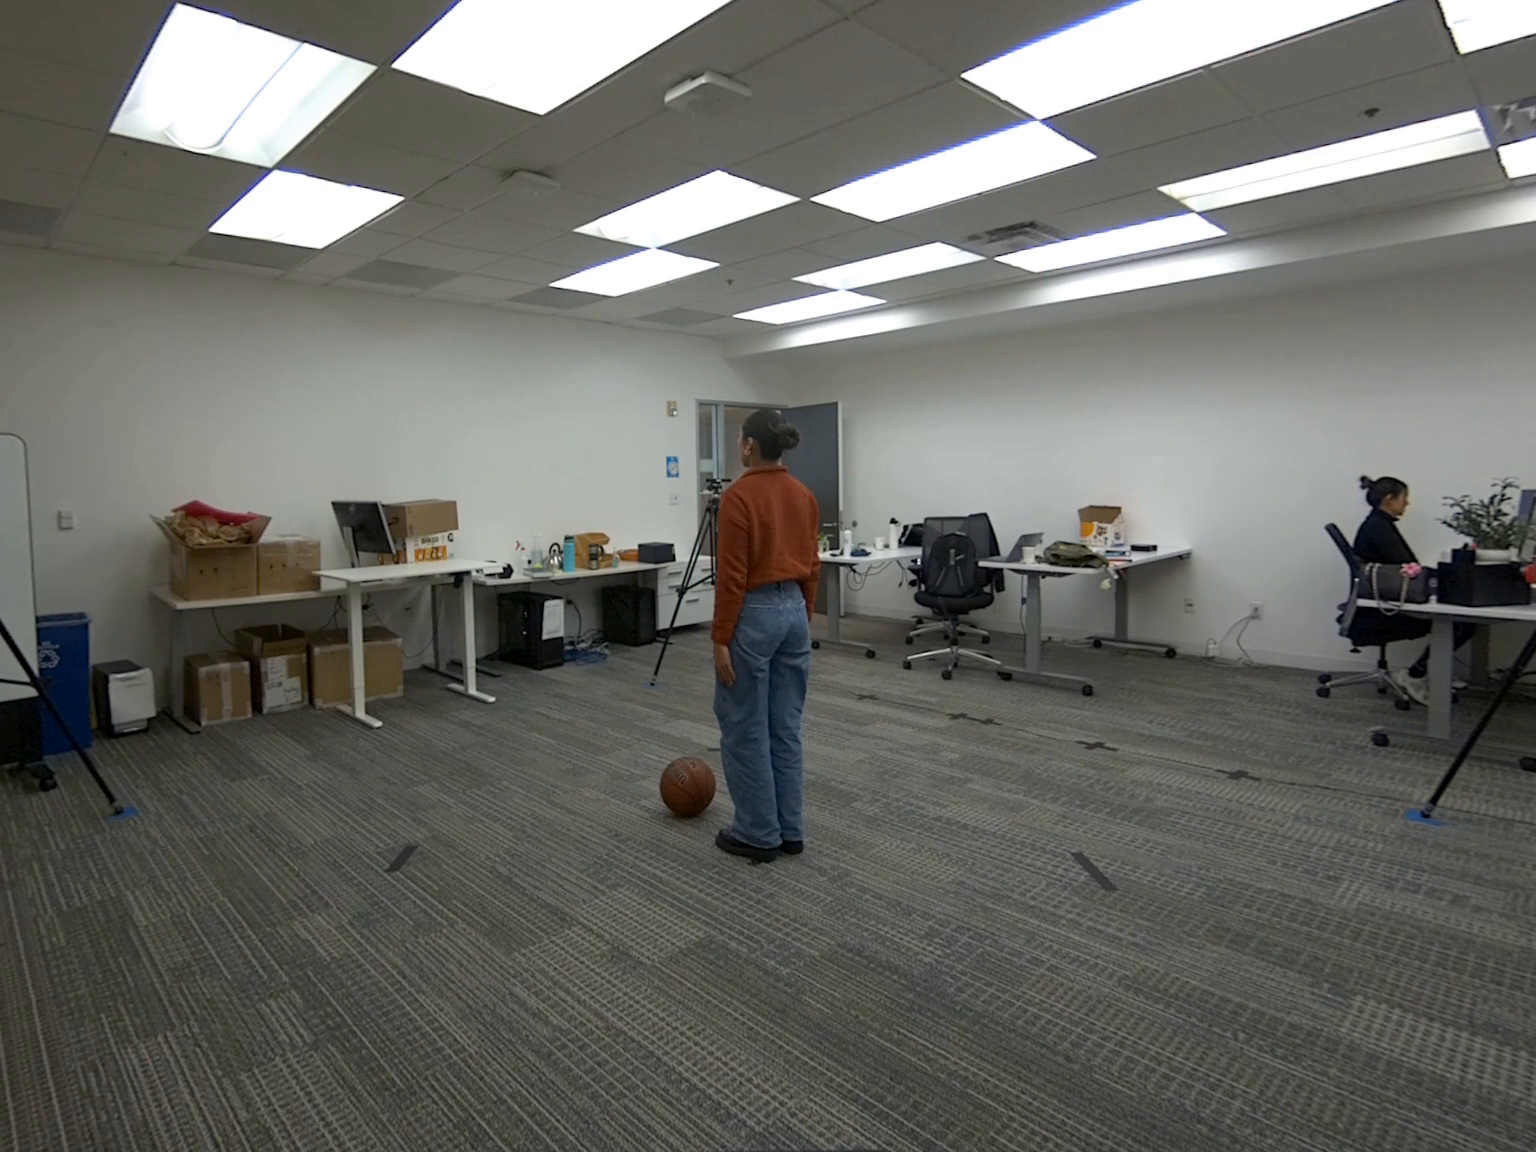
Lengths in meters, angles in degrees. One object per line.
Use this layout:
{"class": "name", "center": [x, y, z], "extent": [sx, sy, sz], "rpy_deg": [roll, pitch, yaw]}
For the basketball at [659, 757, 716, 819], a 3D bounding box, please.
{"class": "basketball", "center": [-0.335, 0.880, 3.573], "extent": [0.236, 0.235, 0.237], "rpy_deg": [-1, 5, -2]}
